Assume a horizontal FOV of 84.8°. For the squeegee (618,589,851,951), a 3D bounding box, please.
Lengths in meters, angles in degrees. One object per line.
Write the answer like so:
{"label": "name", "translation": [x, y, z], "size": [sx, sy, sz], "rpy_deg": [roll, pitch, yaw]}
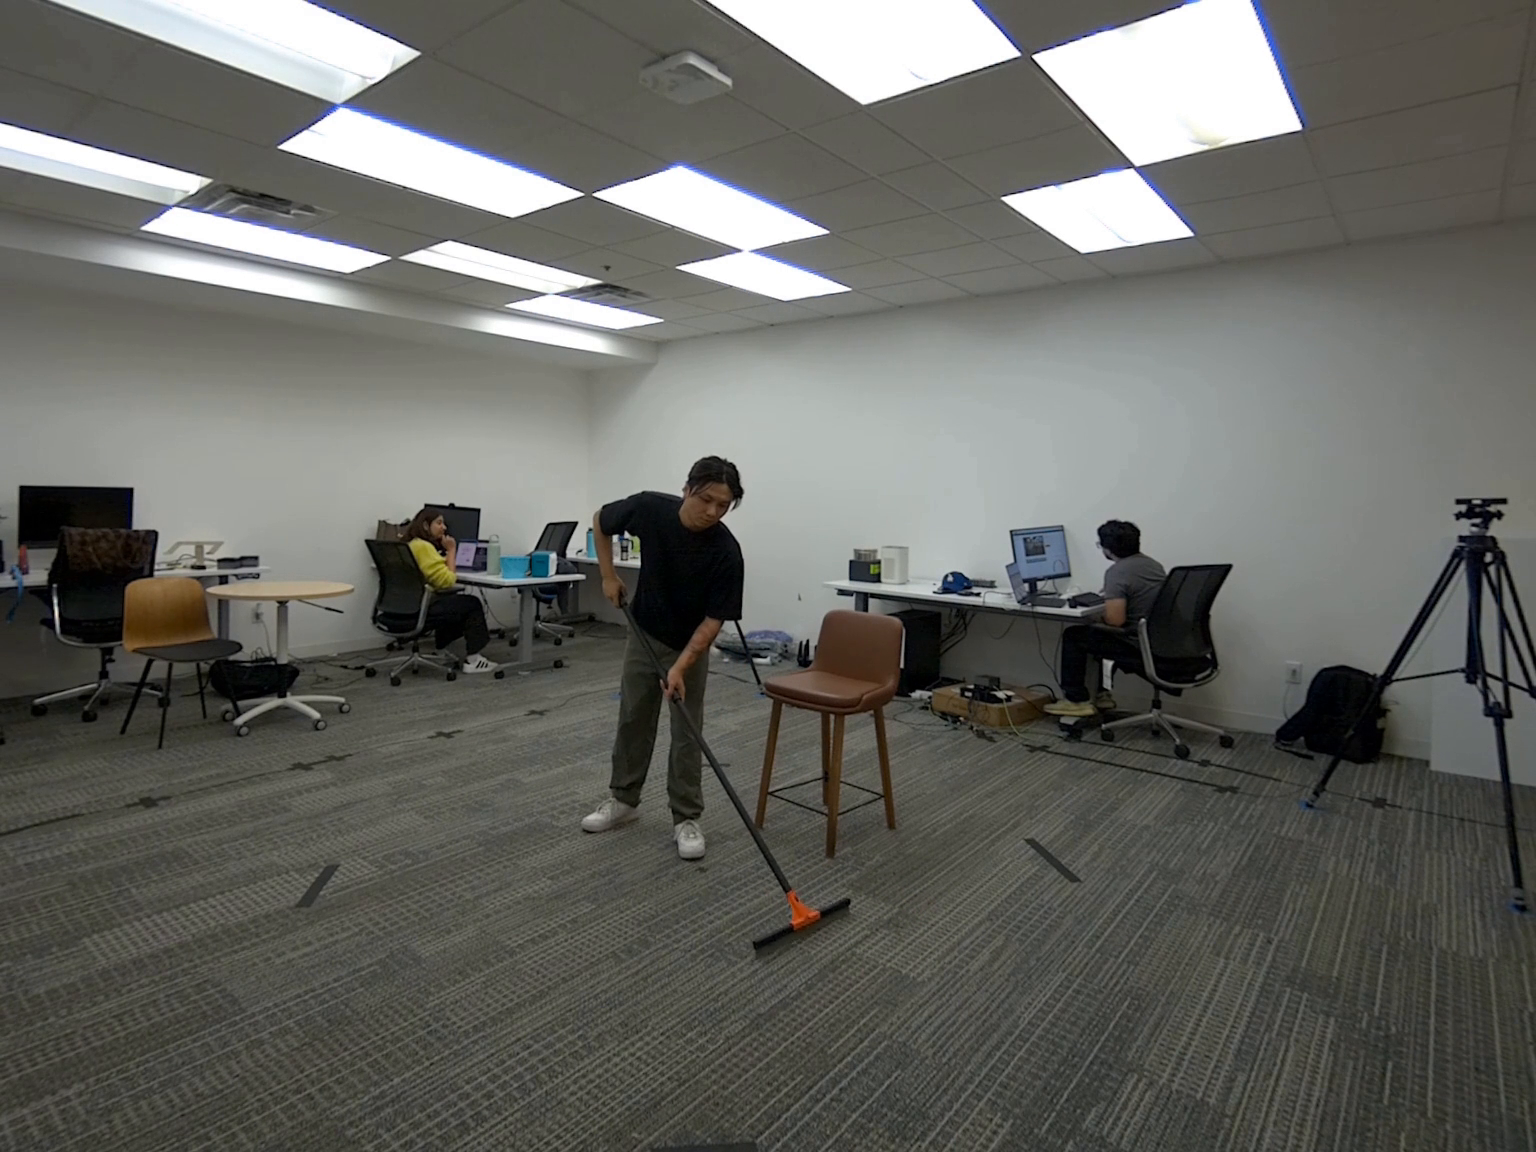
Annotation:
{"label": "squeegee", "translation": [-0.290, 0.528, 3.046], "size": [0.424, 0.052, 1.595], "rpy_deg": [-3, 46, -44]}
